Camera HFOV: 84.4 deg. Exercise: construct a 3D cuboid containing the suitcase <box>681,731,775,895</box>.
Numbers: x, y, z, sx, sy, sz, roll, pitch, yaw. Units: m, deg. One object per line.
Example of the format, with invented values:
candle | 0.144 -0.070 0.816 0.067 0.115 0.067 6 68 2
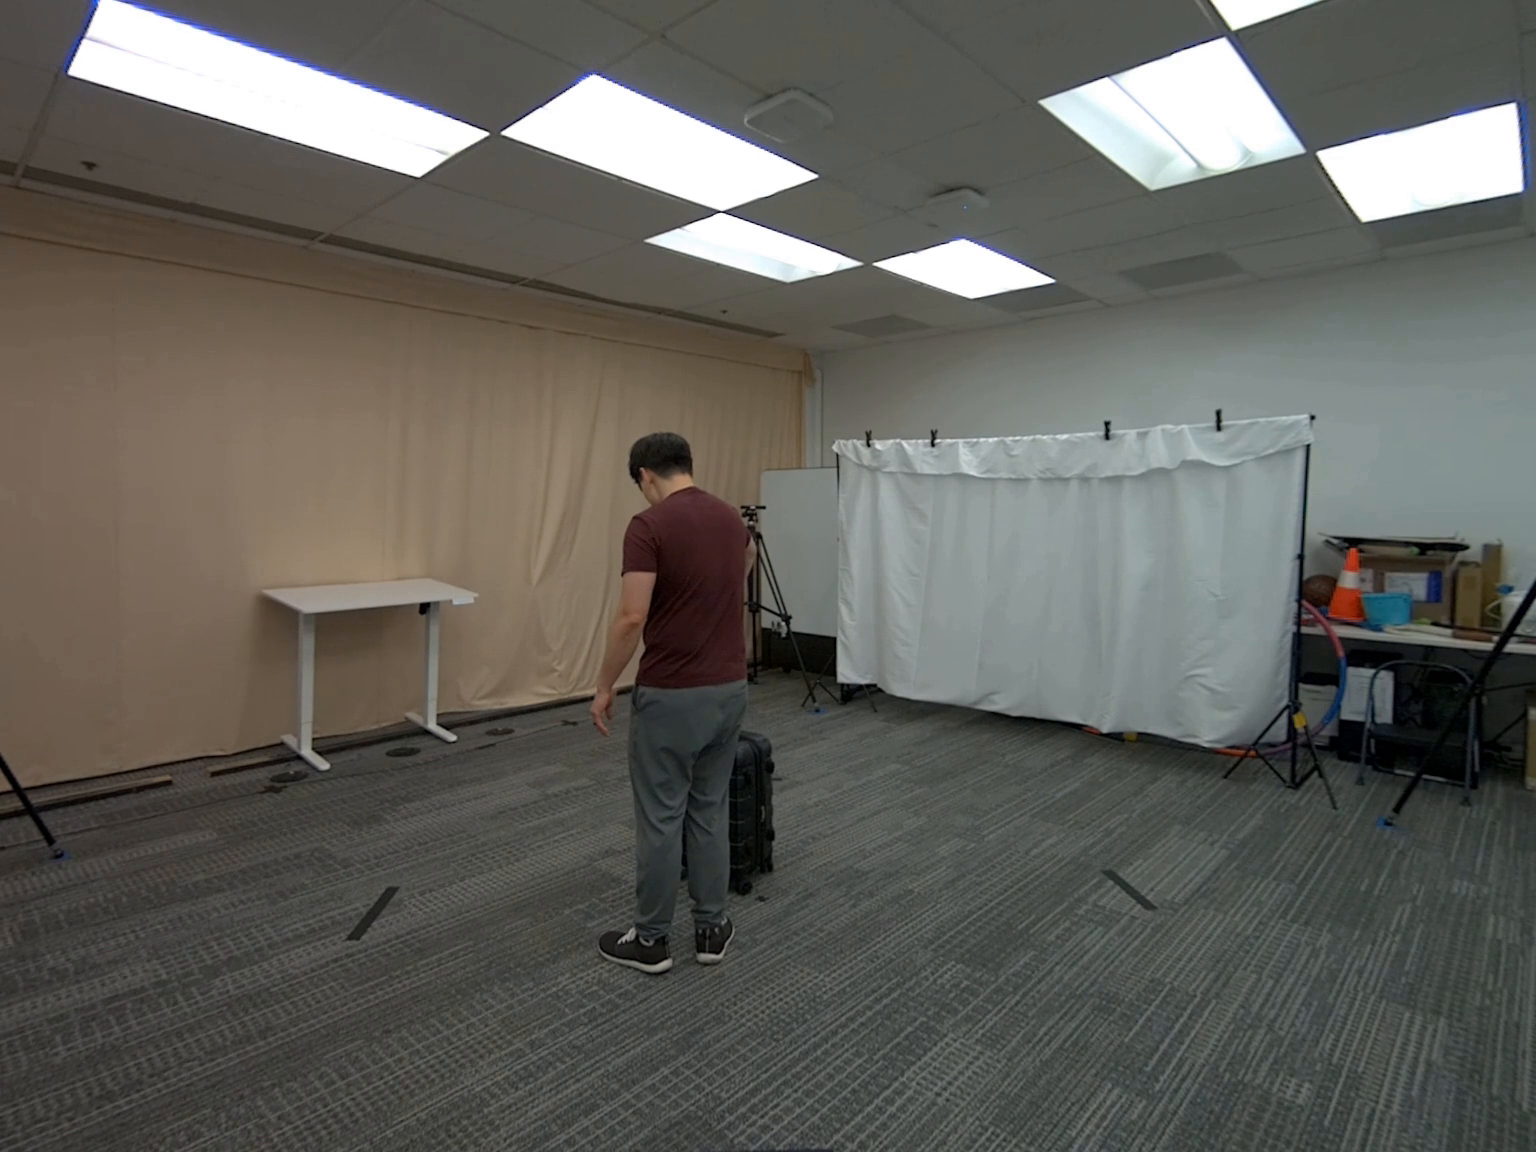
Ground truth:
suitcase | -0.176 0.653 3.170 0.396 0.977 0.249 1 2 34
